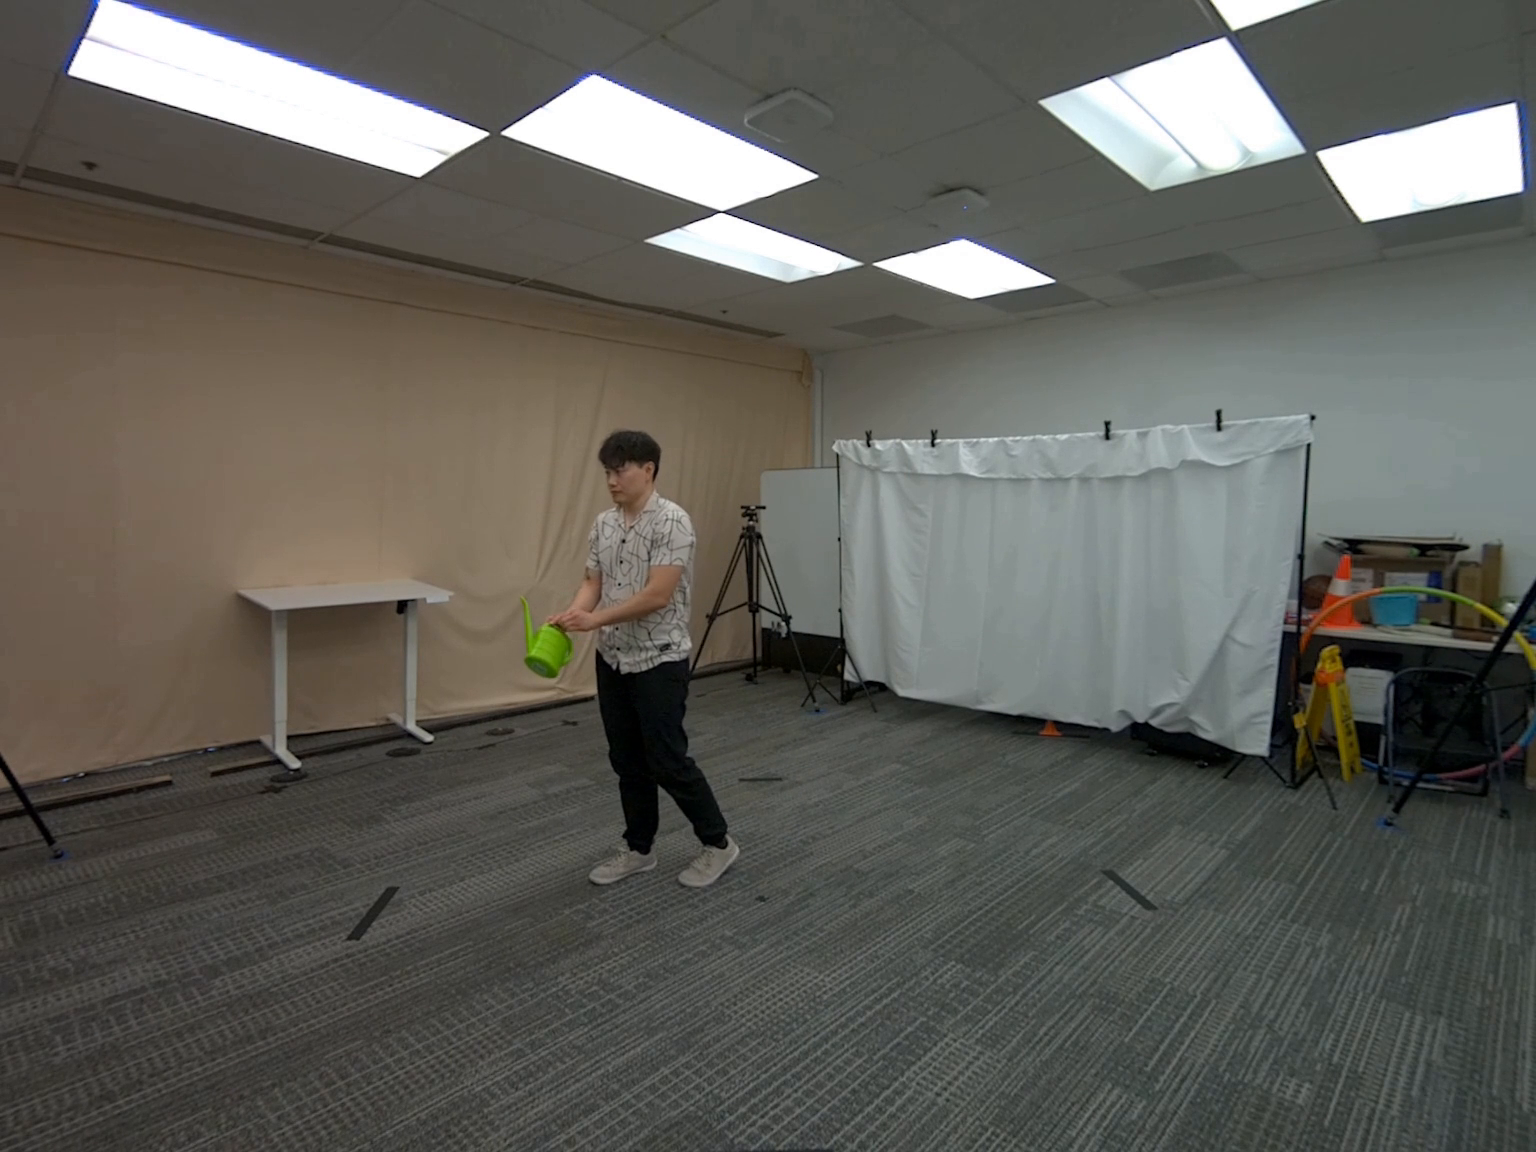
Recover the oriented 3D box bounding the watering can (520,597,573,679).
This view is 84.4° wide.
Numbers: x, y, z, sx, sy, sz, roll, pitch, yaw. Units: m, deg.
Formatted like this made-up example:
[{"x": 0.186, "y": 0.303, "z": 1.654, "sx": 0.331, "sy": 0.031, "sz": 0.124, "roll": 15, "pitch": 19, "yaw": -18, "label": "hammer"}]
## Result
[{"x": -0.778, "y": 0.223, "z": 2.853, "sx": 0.271, "sy": 0.178, "sz": 0.099, "roll": 36, "pitch": -47, "yaw": -22, "label": "watering can"}]
